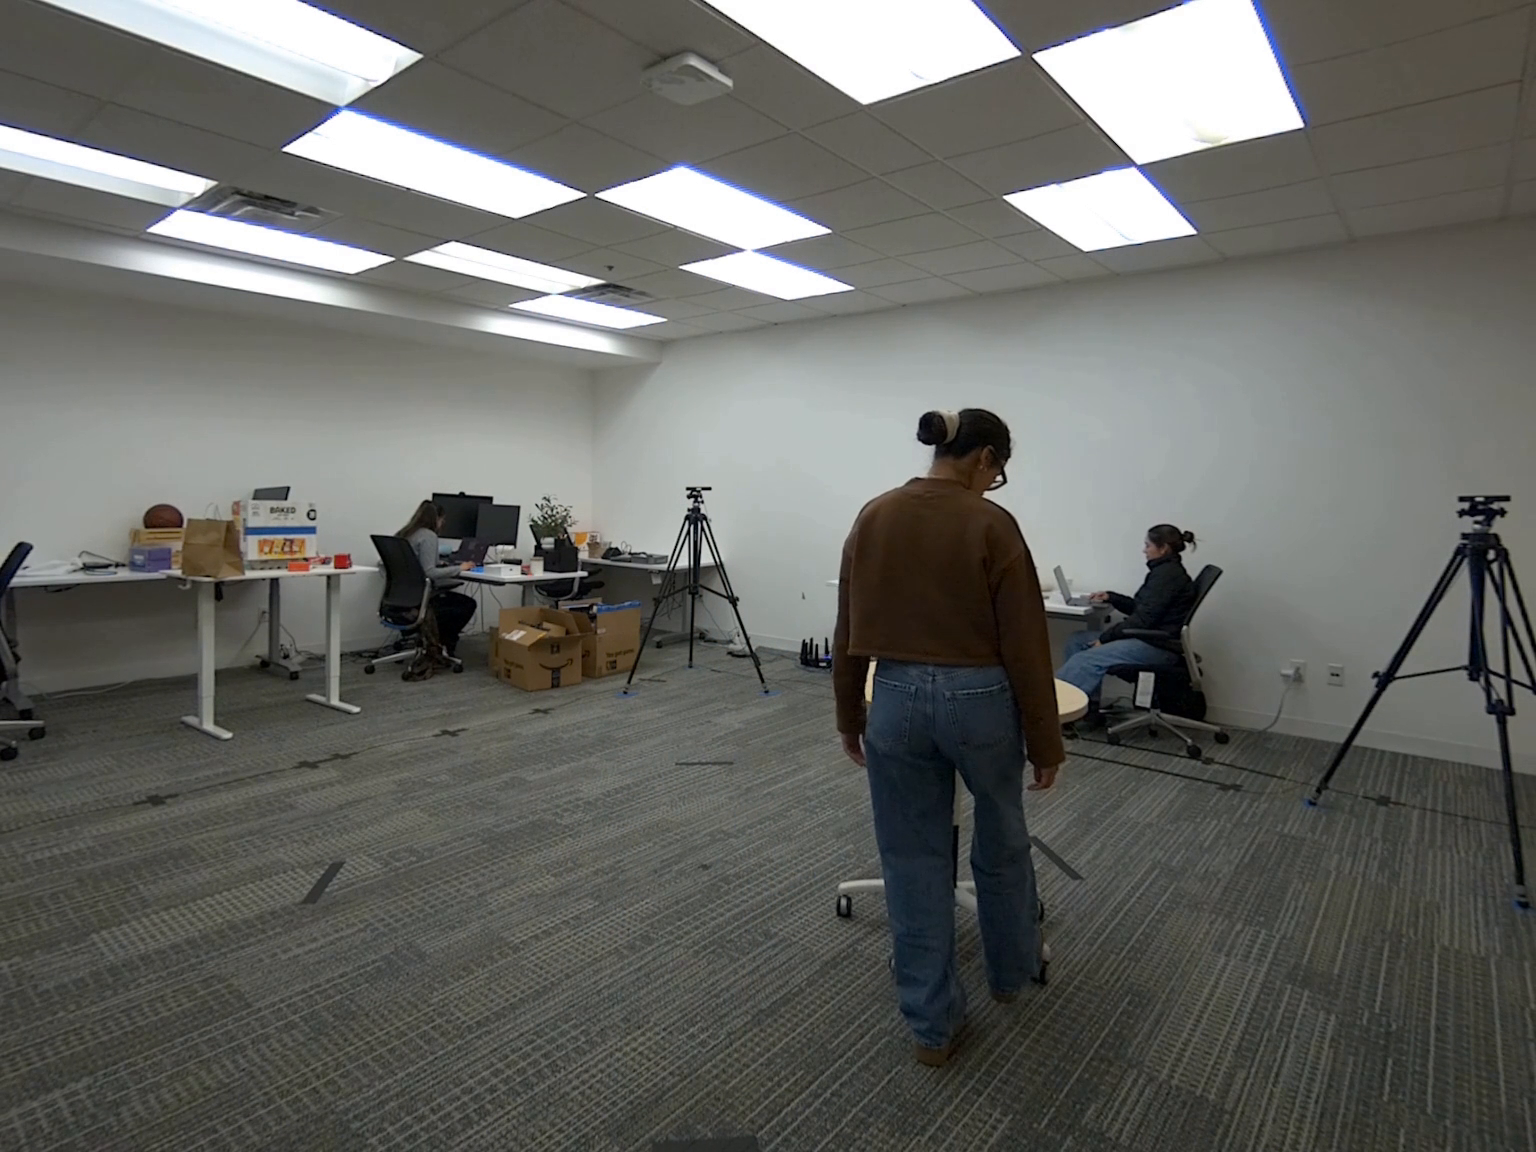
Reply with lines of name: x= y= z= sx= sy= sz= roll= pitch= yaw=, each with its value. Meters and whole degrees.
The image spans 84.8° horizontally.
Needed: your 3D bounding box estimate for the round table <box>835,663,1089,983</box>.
round table: x=0.573 y=0.730 z=2.691 sx=0.763 sy=0.791 sz=0.768 roll=1 pitch=5 yaw=-2
